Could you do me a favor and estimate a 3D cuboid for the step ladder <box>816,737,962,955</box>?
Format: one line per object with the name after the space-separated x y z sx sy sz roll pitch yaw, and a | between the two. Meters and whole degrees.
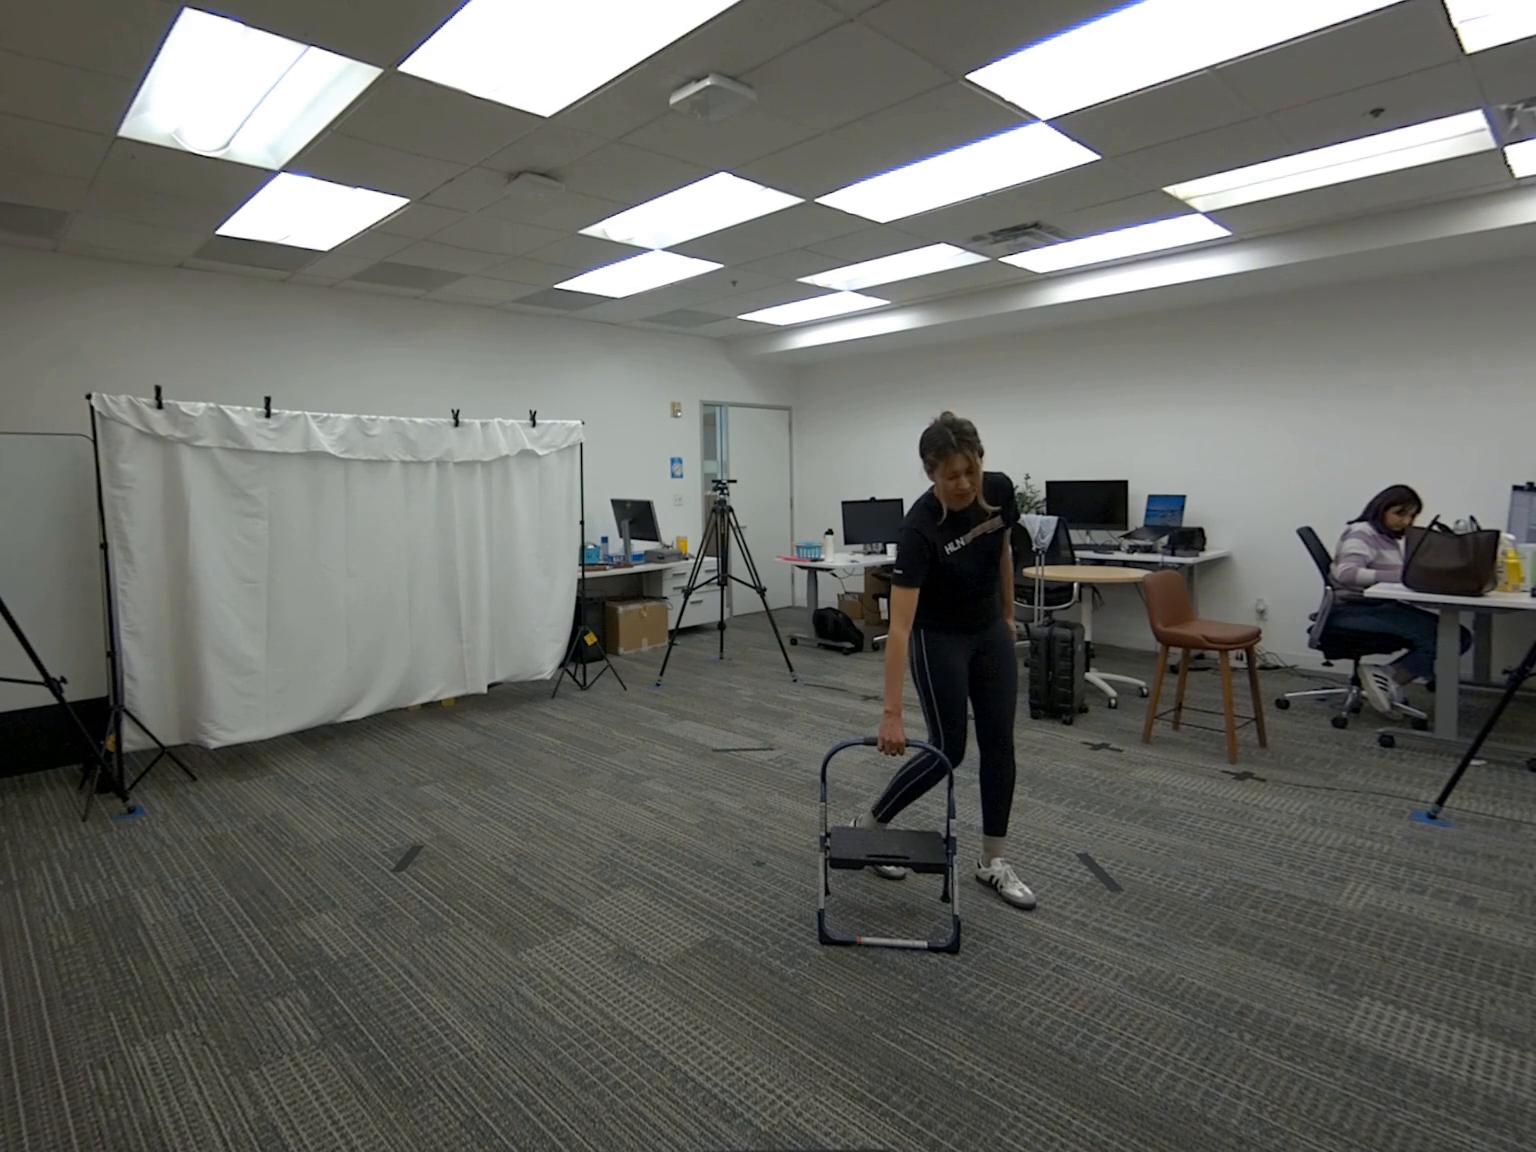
0.374 0.789 2.676 0.434 0.604 0.348 0 4 7 | step ladder
